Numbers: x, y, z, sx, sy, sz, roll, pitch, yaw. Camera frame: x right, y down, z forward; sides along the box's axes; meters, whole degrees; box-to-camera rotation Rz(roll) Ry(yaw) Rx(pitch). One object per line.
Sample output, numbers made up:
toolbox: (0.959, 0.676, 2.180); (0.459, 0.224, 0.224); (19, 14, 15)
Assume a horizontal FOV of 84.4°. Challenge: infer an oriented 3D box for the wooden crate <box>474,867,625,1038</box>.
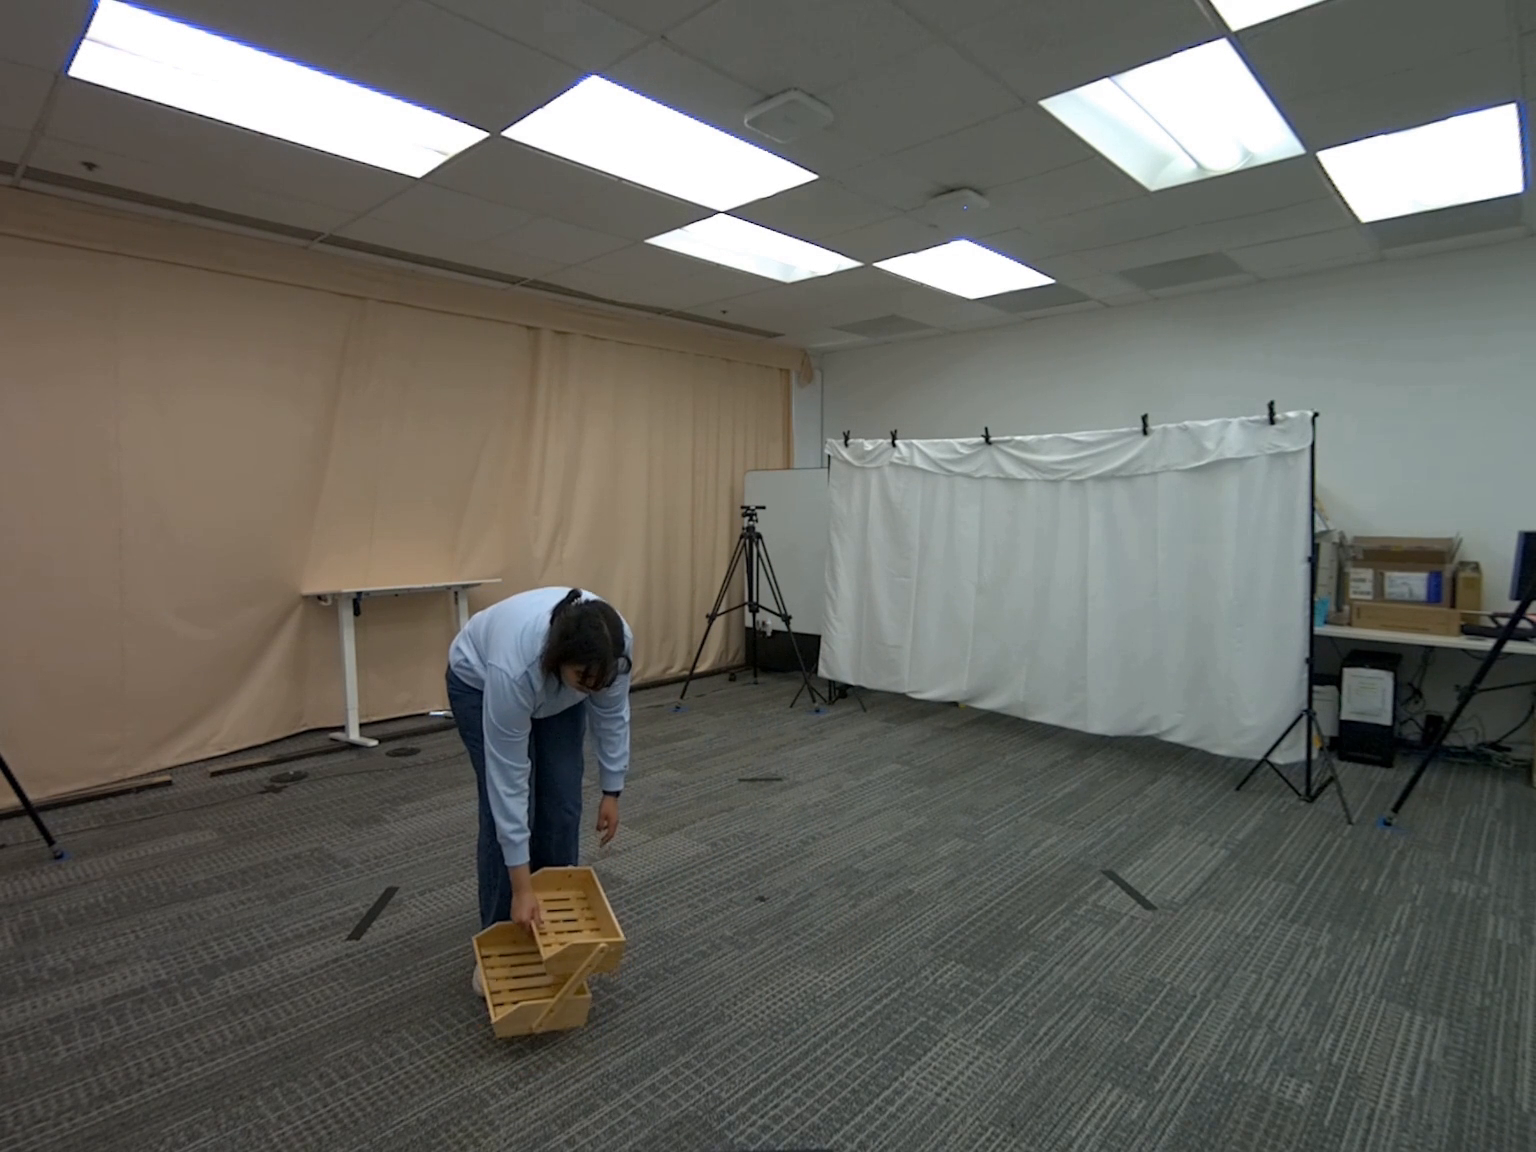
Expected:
wooden crate: (-0.599, 0.987, 2.223); (0.293, 0.272, 0.335); (8, 14, -32)
